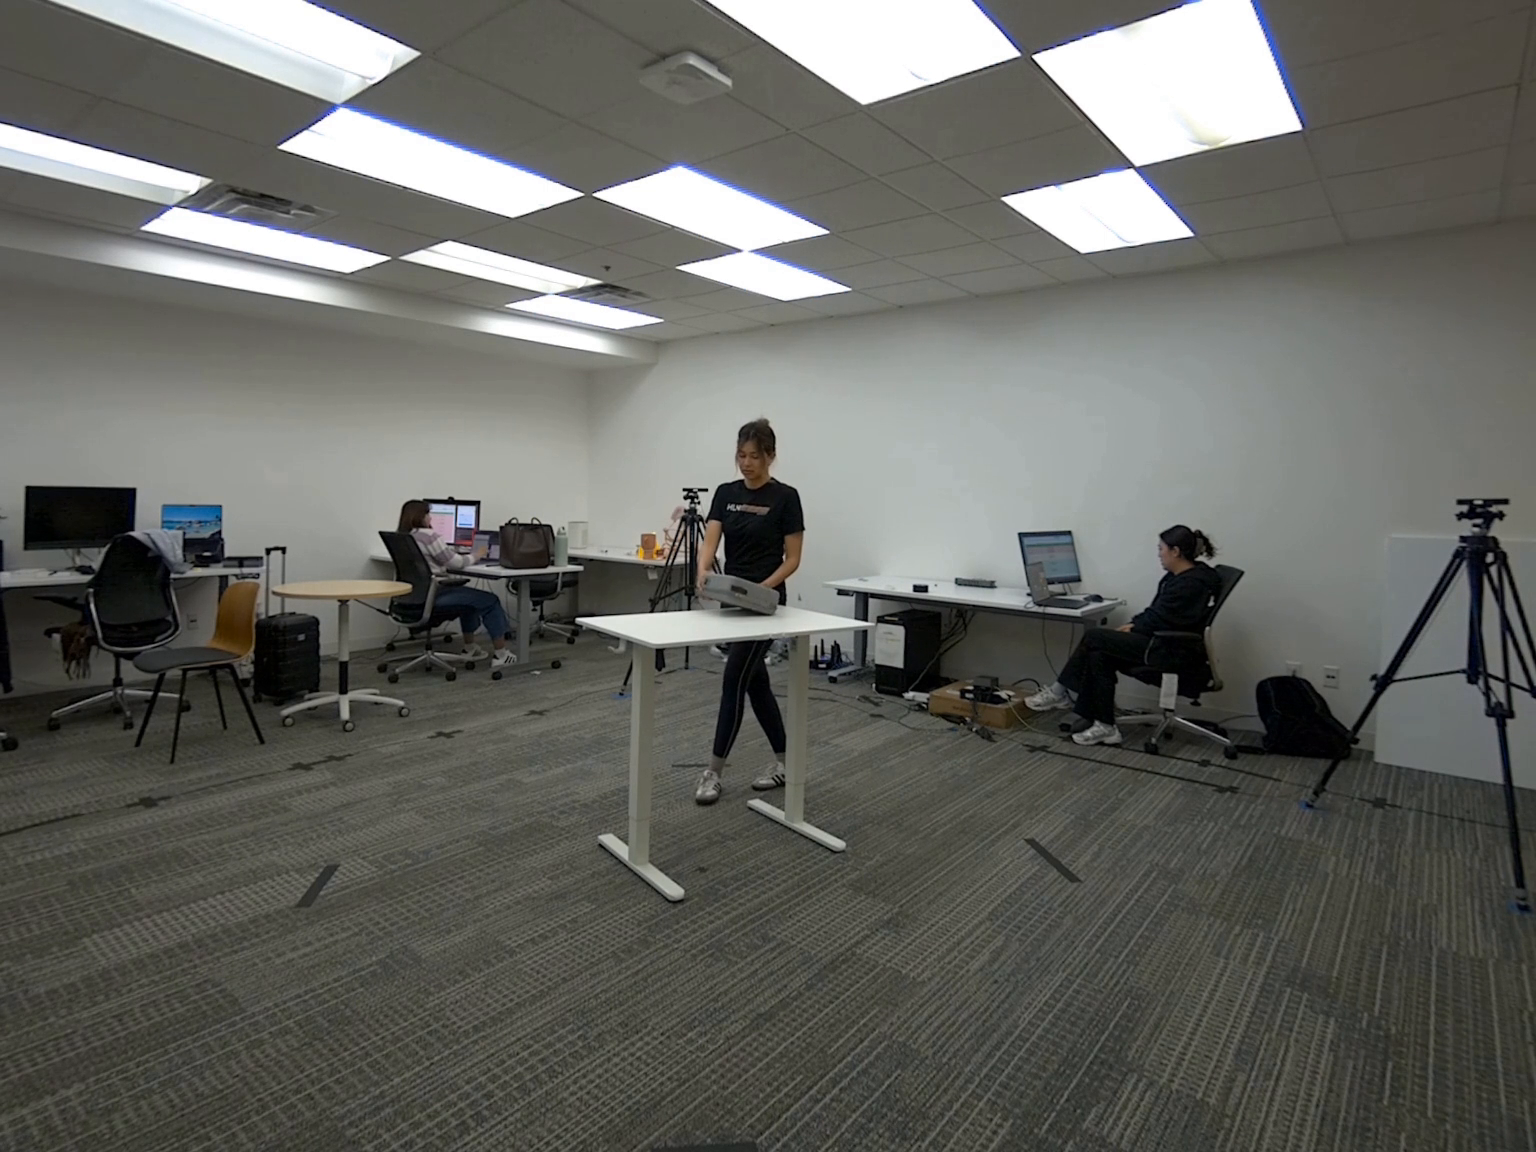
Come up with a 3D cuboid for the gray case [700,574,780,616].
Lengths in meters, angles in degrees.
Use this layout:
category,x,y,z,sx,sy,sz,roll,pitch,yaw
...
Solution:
category,x,y,z,sx,sy,sz,roll,pitch,yaw
gray case,-0.125,0.068,3.511,0.248,0.105,0.268,18,-6,-31
